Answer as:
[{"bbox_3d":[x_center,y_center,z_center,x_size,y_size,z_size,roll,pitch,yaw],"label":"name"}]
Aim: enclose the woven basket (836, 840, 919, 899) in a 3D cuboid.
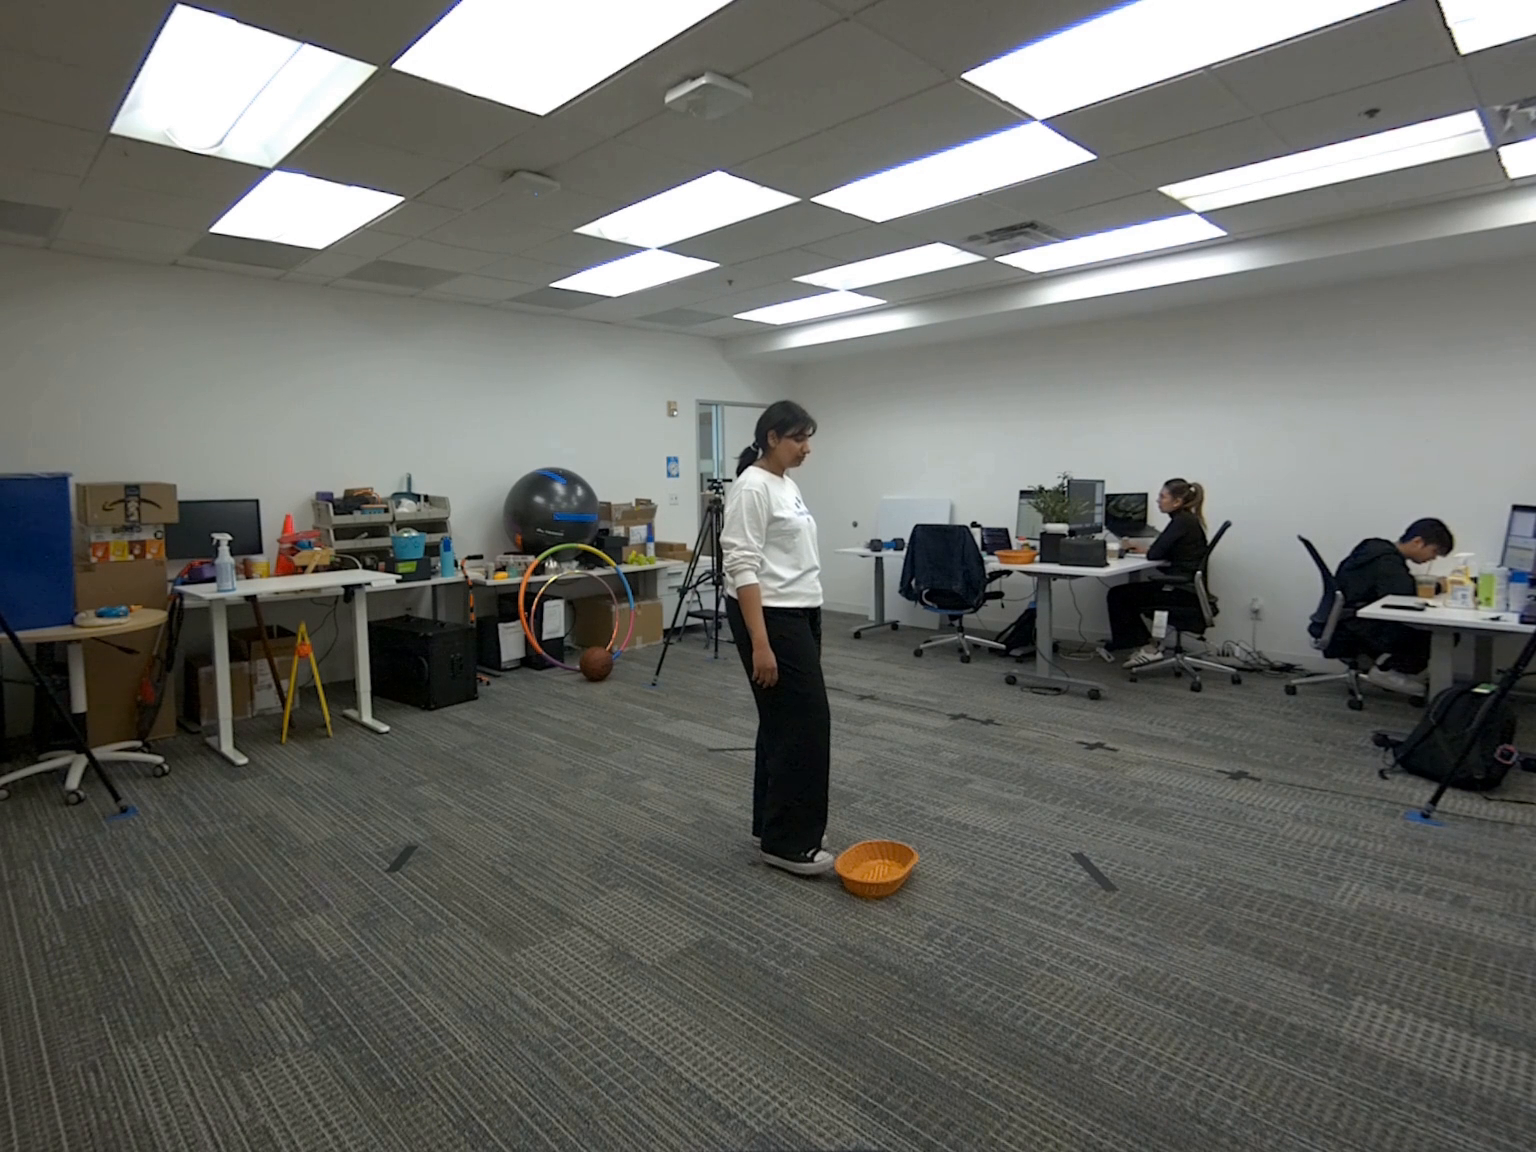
[{"bbox_3d":[0.377,1.009,2.966,0.259,0.073,0.342,2,8,34],"label":"woven basket"}]
